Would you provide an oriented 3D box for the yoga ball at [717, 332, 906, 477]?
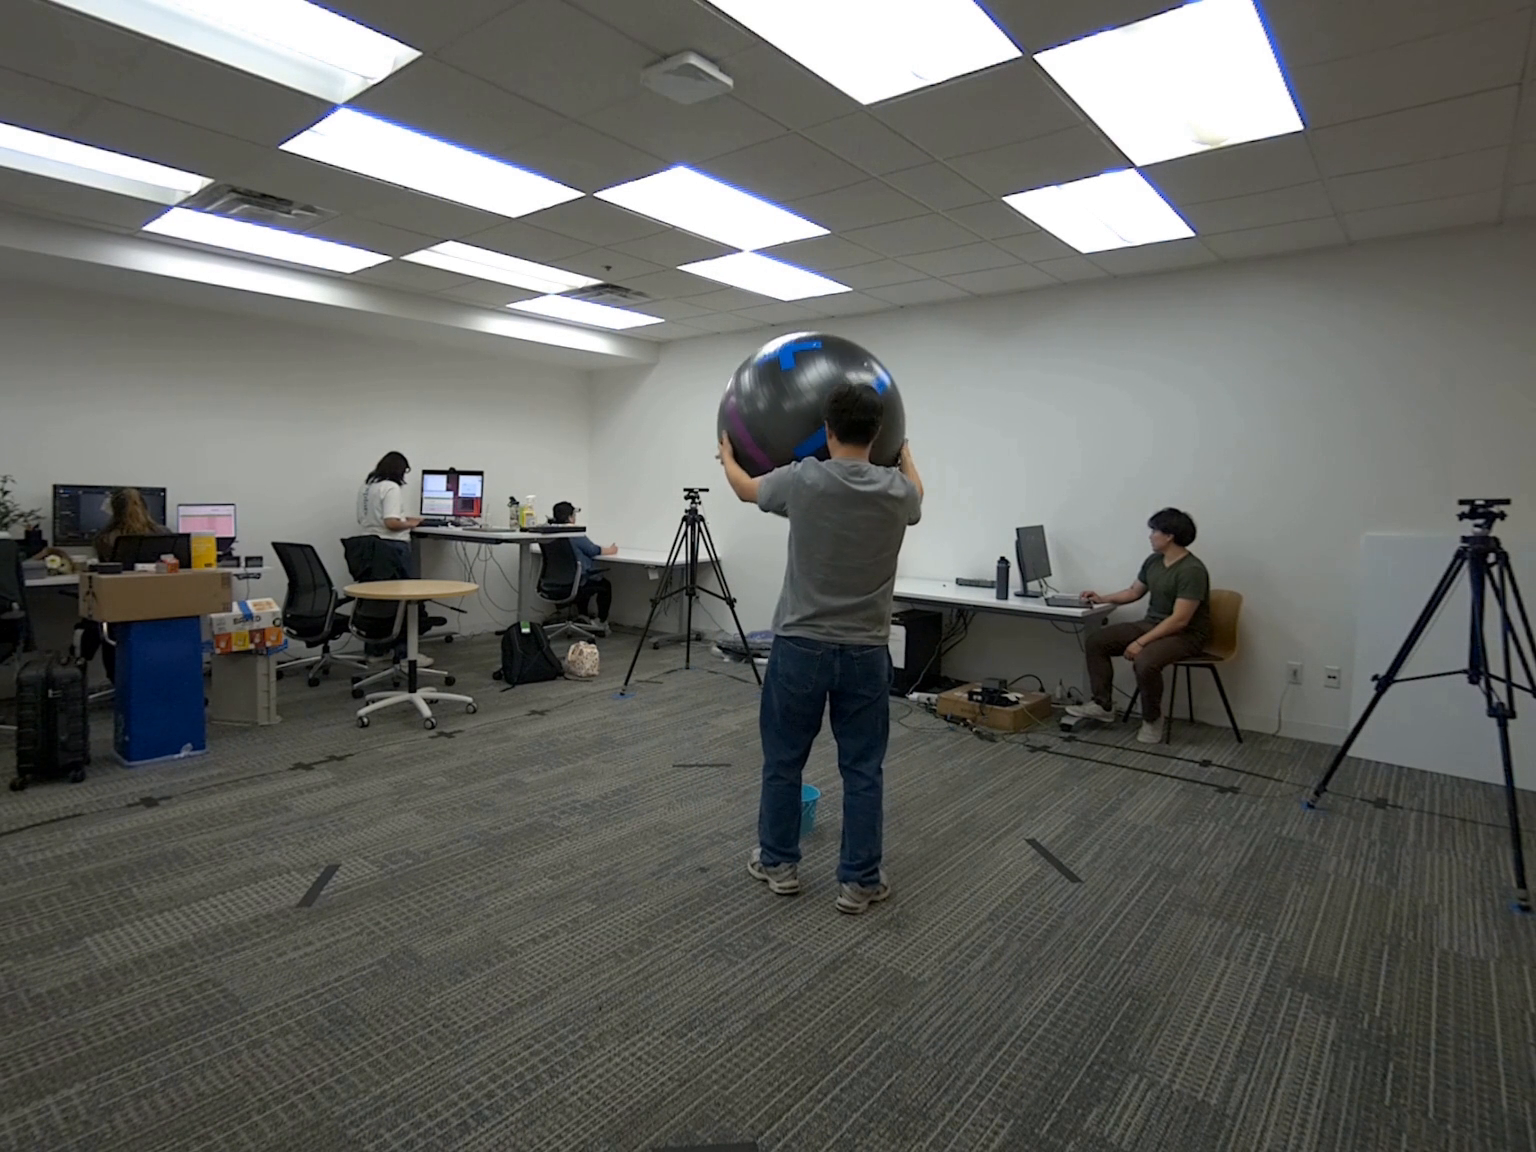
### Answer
[{"bbox_3d":[0.163,-0.605,3.473,0.757,0.756,0.761,1,4,-2],"label":"yoga ball"}]
